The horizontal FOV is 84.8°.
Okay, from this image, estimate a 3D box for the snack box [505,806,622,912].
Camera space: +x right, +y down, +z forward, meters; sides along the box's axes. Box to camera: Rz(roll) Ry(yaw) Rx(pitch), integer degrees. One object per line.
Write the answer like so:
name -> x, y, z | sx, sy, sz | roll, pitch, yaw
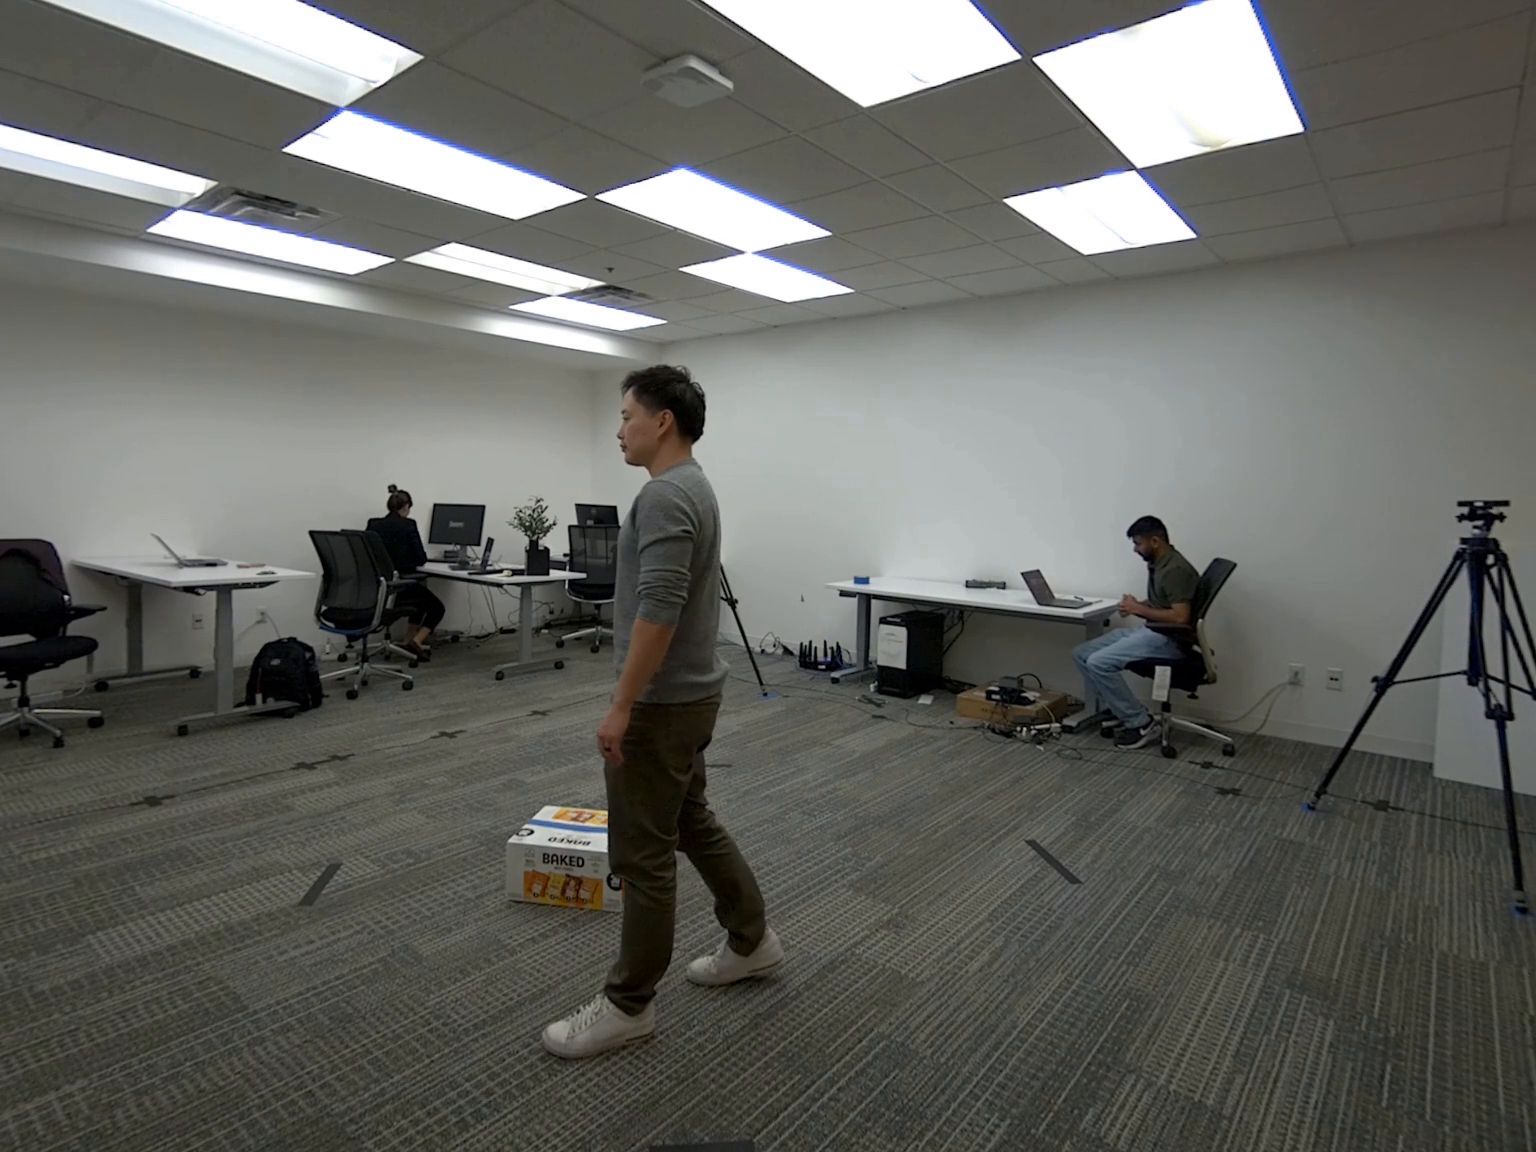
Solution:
snack box -> -0.667, 0.981, 2.963 | 0.409, 0.205, 0.338 | 2, 4, 9
